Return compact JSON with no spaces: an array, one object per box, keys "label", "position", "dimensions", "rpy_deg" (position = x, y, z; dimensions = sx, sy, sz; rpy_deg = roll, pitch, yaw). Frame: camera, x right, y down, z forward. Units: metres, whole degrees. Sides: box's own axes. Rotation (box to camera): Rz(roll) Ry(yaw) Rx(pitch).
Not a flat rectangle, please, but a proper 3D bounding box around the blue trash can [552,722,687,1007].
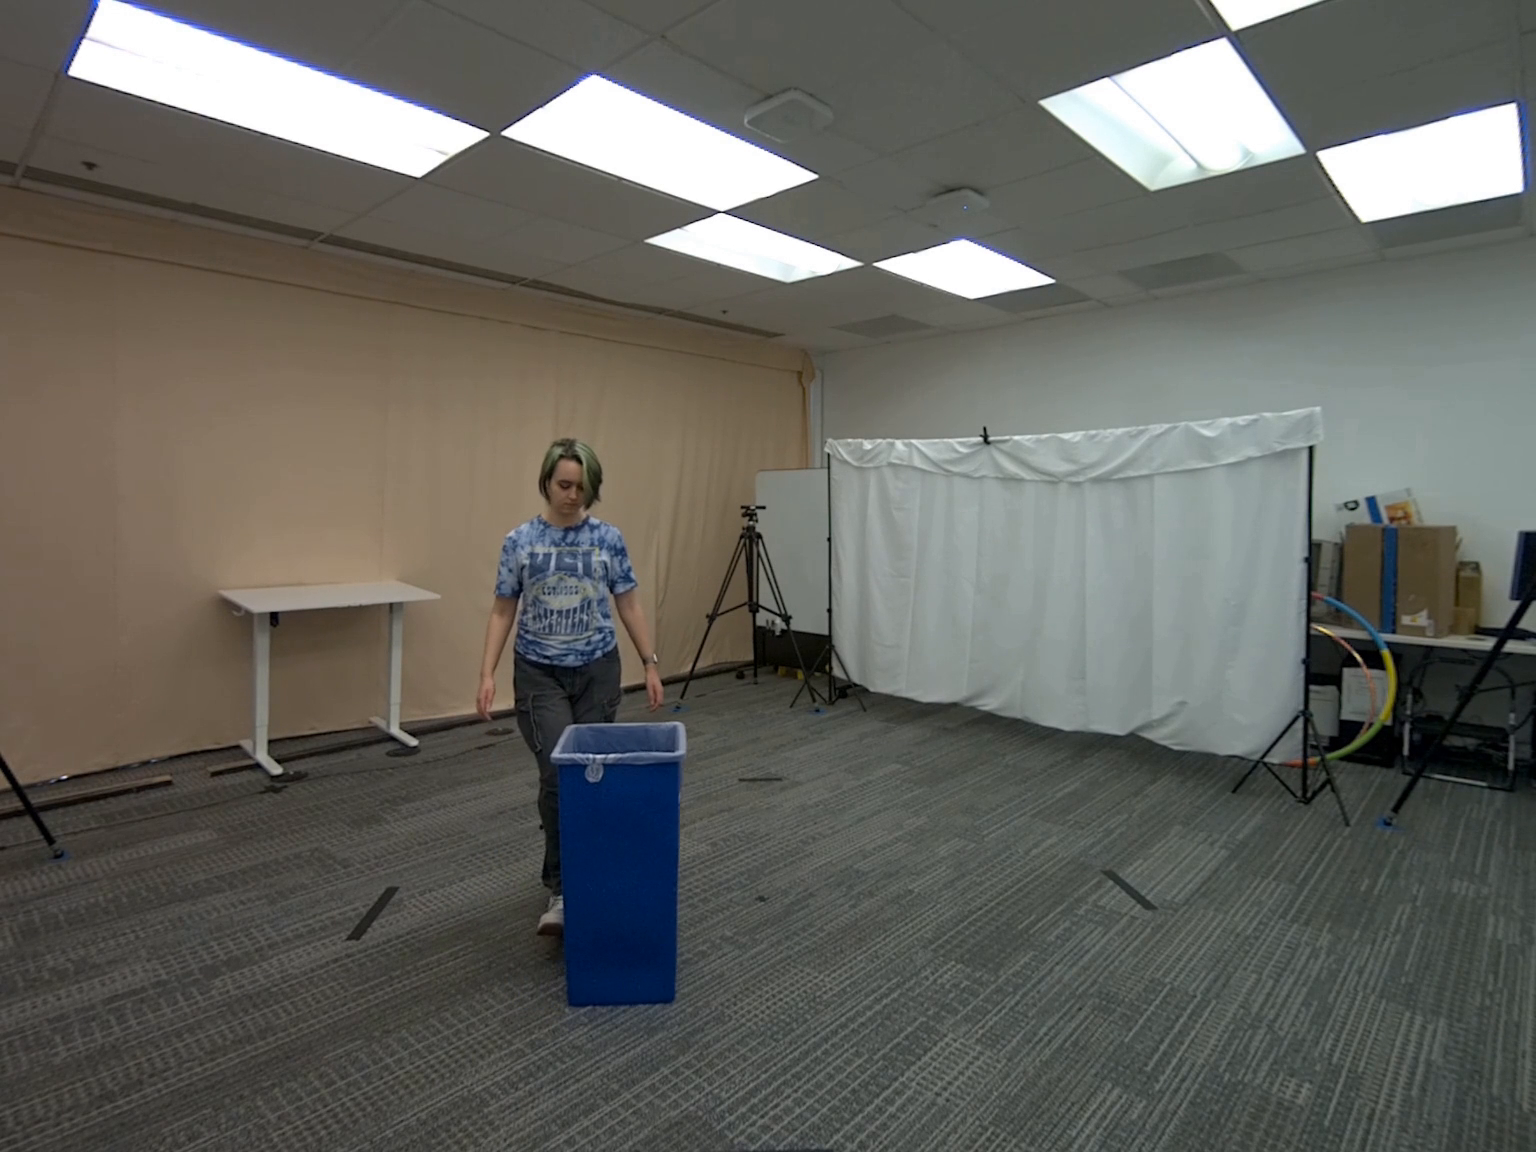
[{"label":"blue trash can","position":[-0.430,0.833,2.484],"dimensions":[0.377,0.712,0.376],"rpy_deg":[0,3,-4]}]
